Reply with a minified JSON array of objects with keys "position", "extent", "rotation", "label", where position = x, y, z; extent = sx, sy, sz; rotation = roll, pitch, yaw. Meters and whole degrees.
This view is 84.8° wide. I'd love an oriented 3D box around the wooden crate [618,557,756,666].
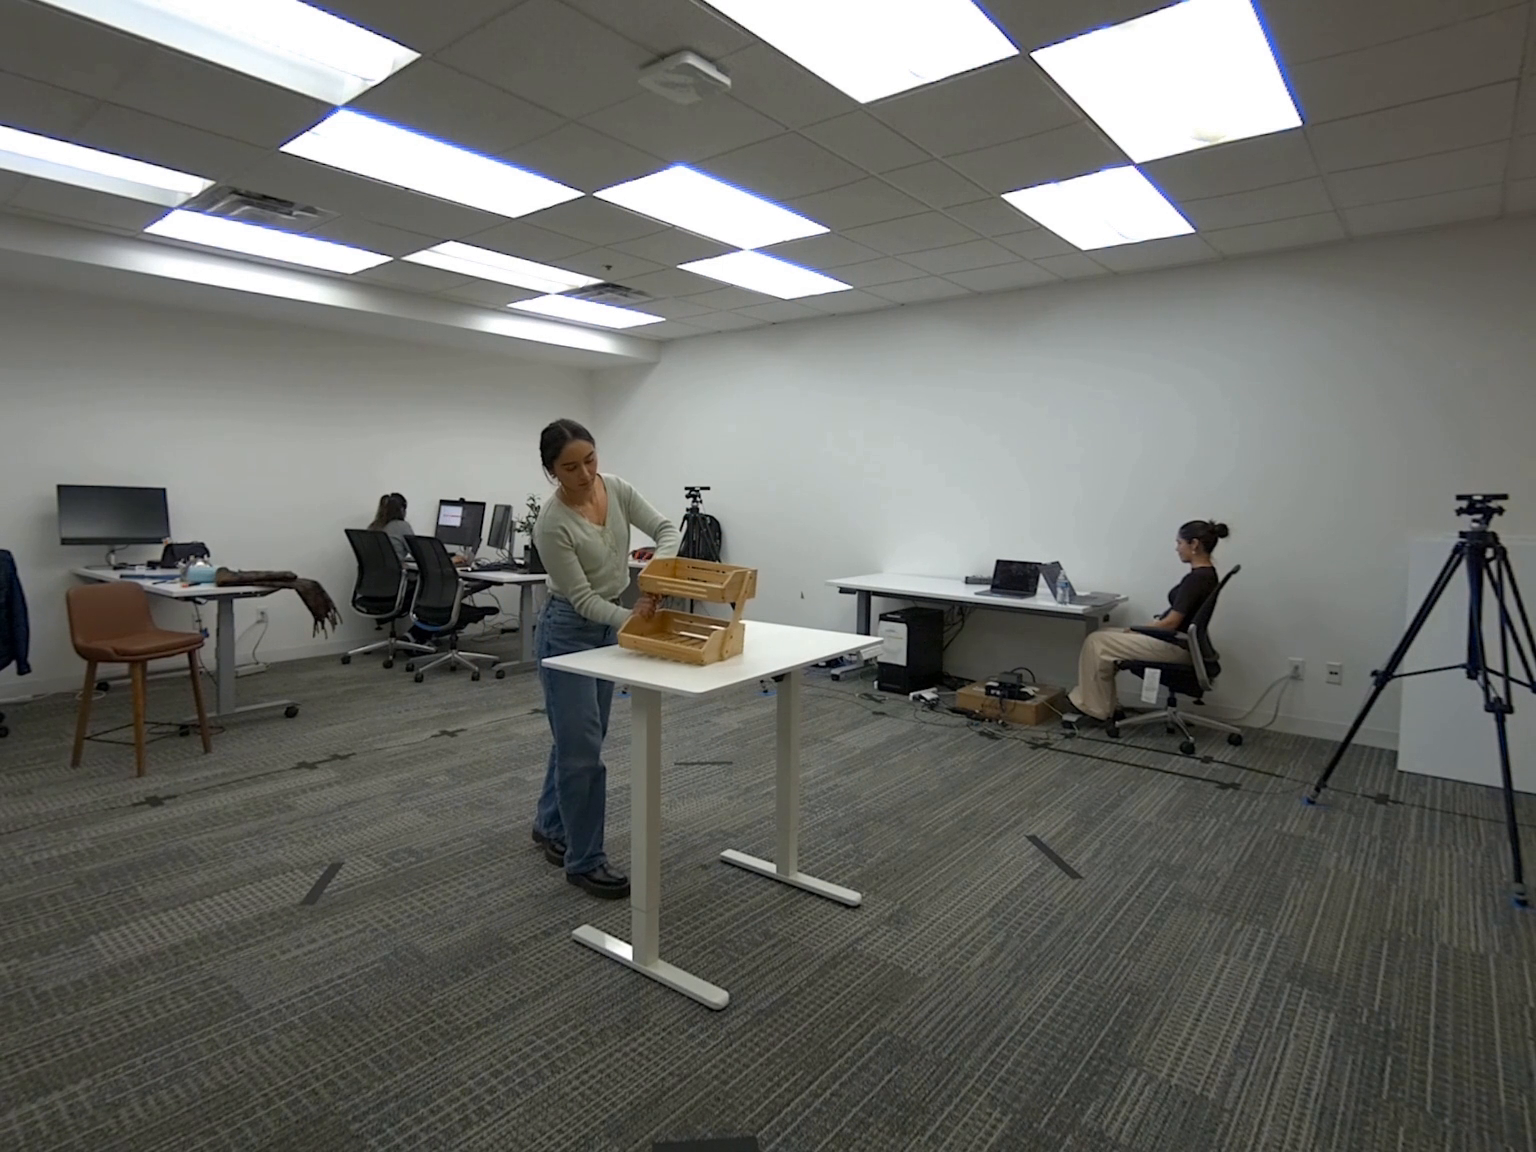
[{"position":[-0.253,0.093,2.591],"extent":[0.334,0.272,0.294],"rotation":[8,7,28],"label":"wooden crate"}]
